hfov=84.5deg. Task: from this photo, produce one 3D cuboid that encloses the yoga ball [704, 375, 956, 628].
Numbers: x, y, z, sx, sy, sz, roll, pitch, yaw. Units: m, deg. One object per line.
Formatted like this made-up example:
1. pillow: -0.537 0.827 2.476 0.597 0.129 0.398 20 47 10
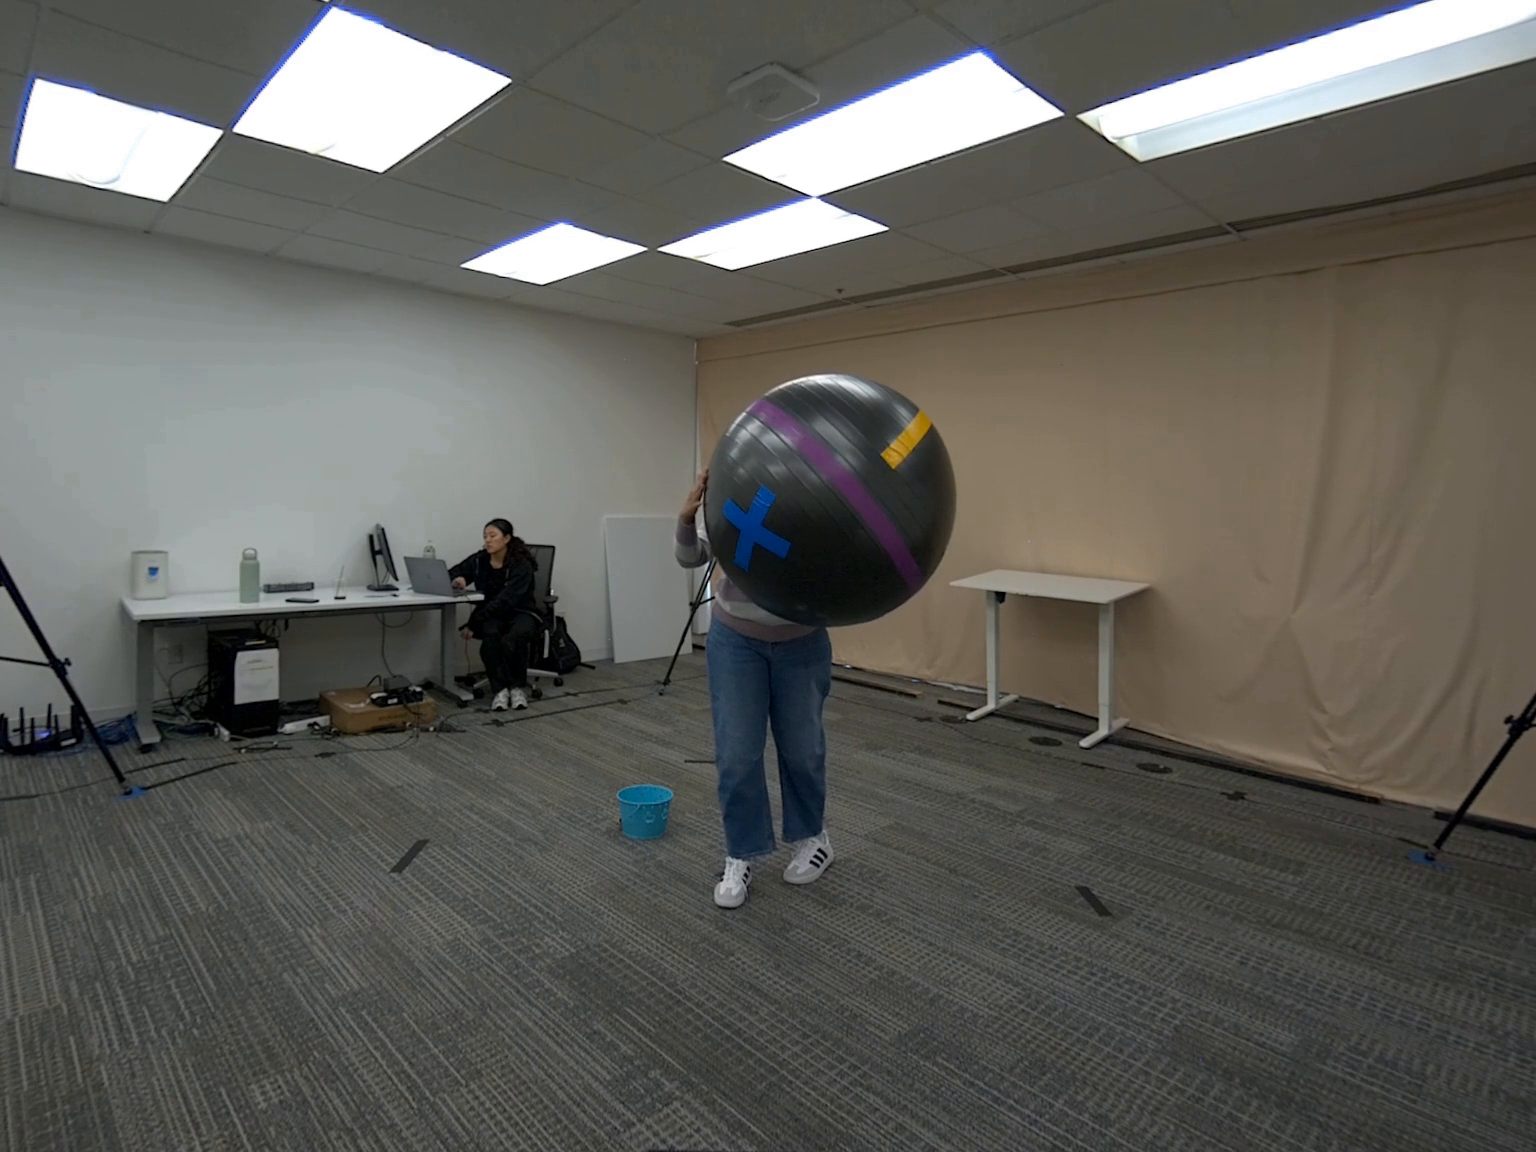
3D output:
1. yoga ball: 0.178 -0.216 2.536 0.757 0.756 0.761 1 4 -1
